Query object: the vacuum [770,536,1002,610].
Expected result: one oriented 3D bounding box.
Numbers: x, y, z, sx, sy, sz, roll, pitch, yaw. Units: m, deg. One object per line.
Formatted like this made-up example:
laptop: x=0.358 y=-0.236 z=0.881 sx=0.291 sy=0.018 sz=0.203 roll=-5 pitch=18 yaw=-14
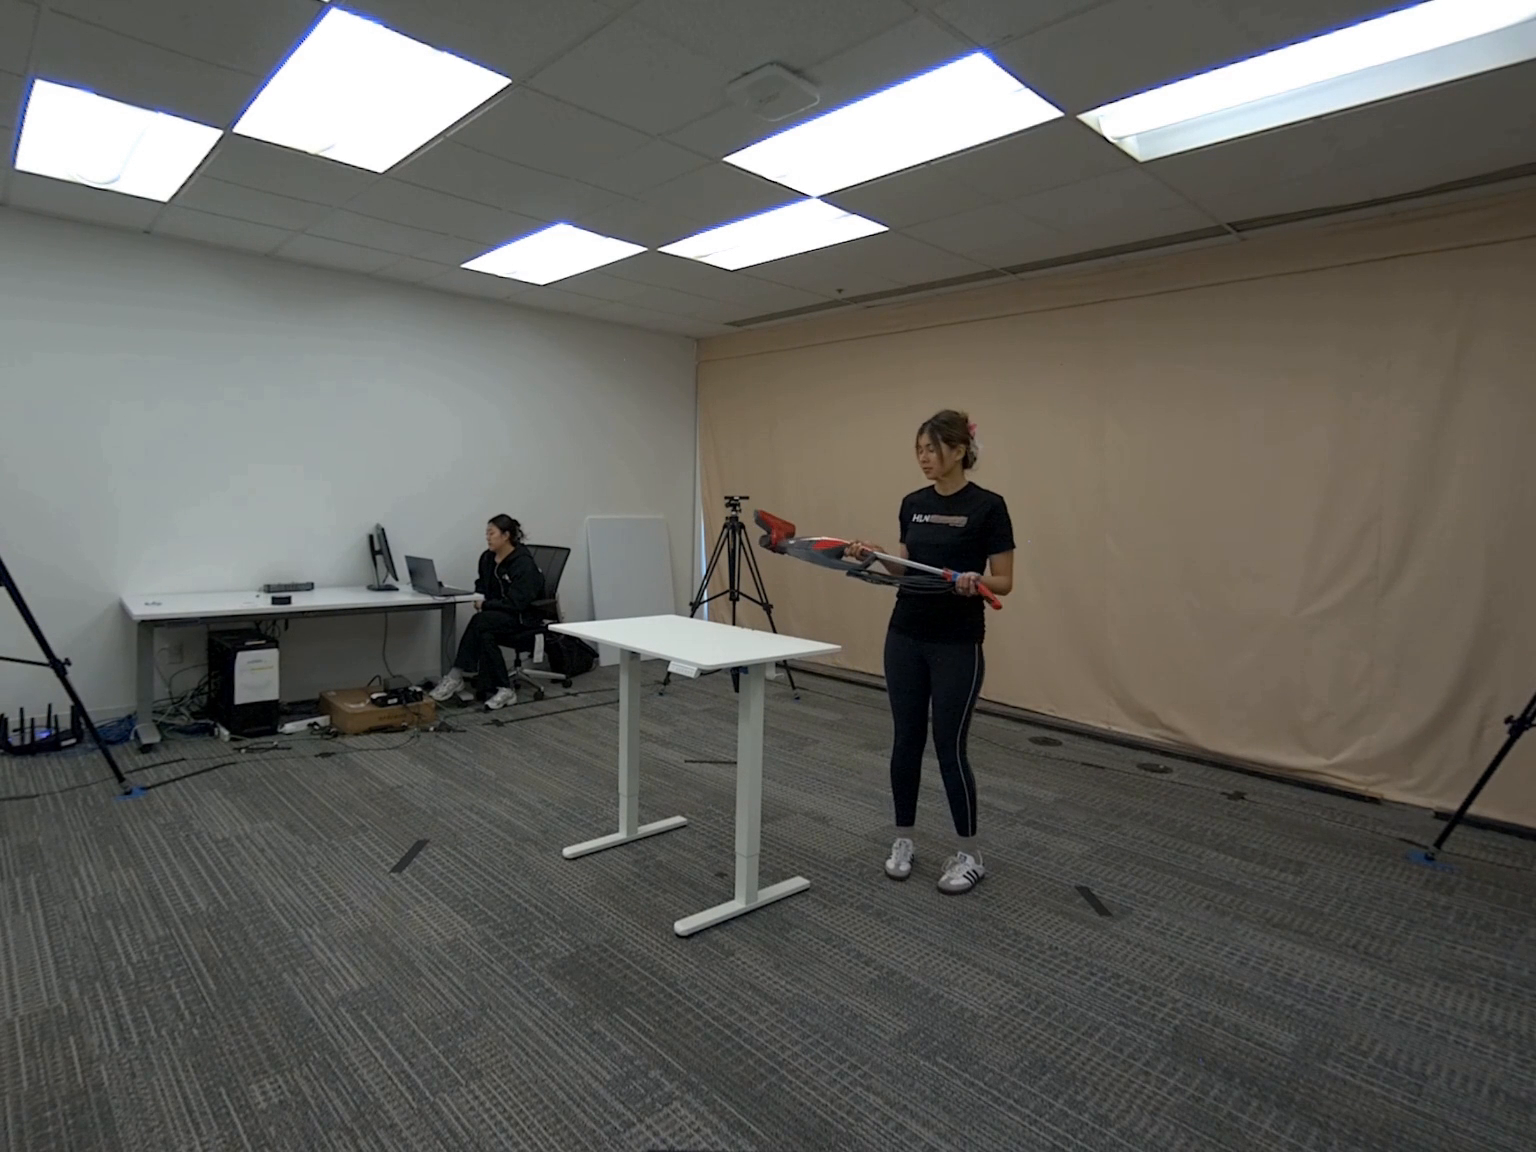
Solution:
vacuum: x=0.376 y=-0.036 z=3.067 sx=1.081 sy=0.144 sz=0.245 roll=21 pitch=-1 yaw=43
